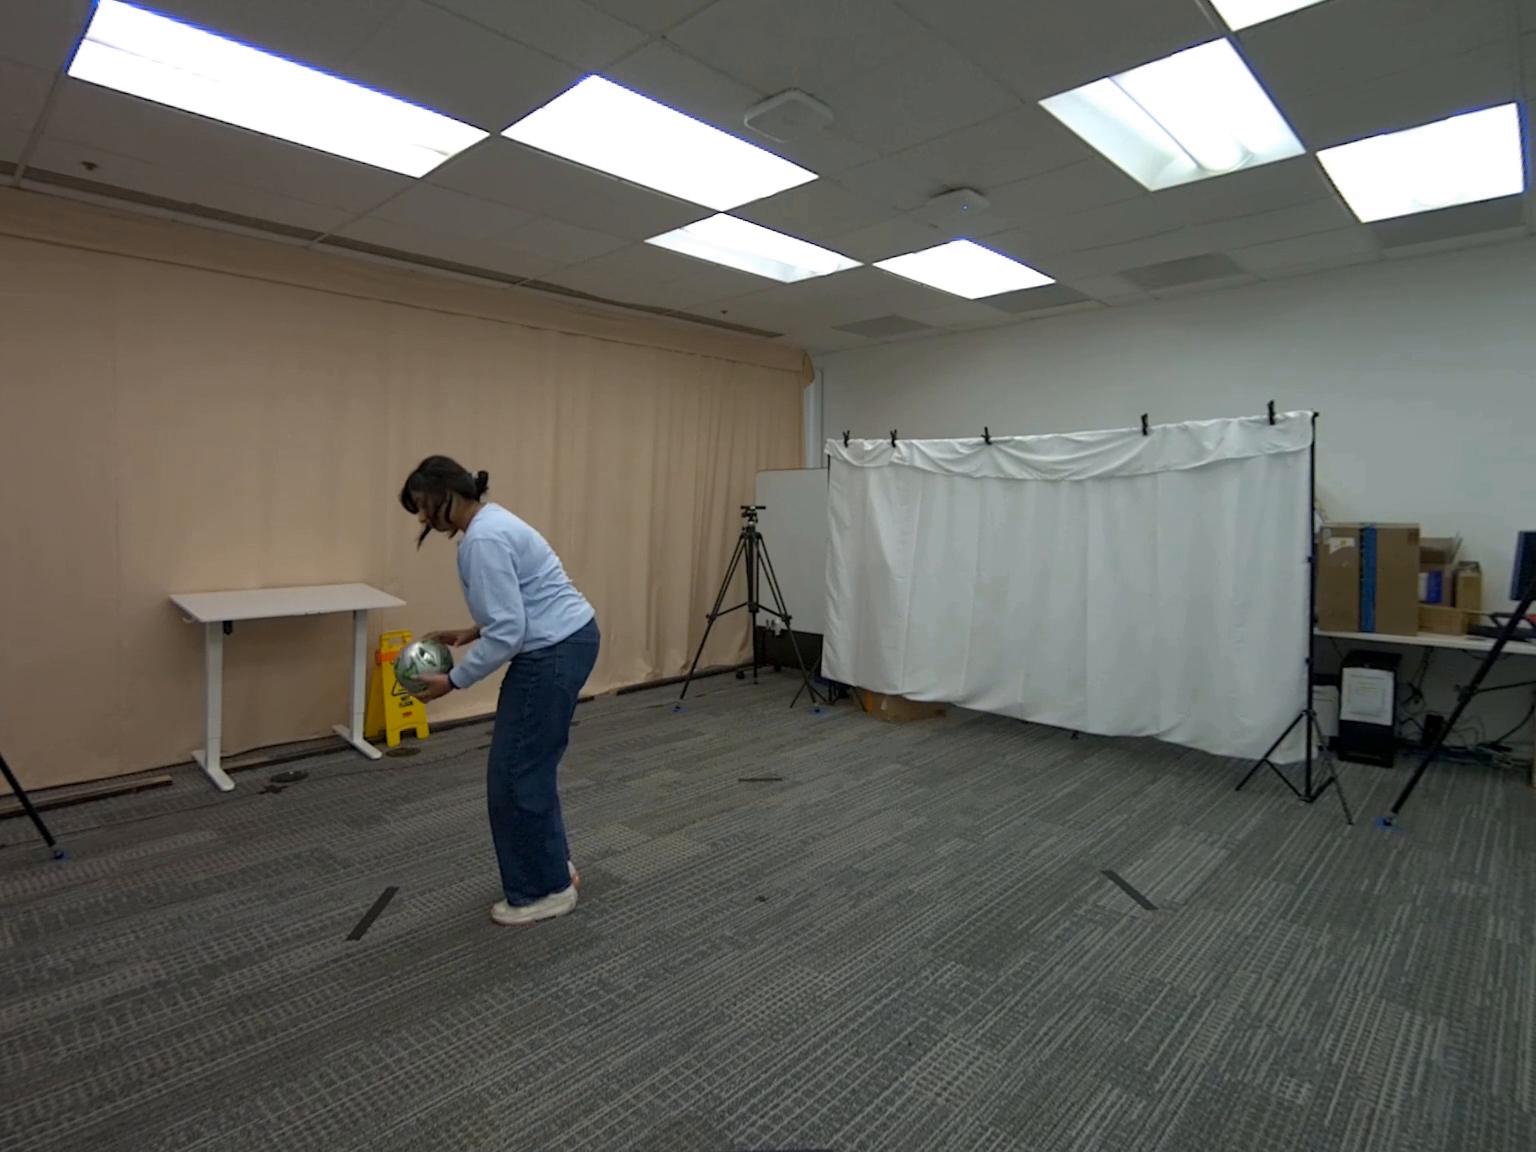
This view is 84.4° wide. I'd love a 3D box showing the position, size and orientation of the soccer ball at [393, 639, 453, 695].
[{"bbox_3d":[-1.123,0.300,2.763,0.187,0.187,0.188,0,4,-2],"label":"soccer ball"}]
